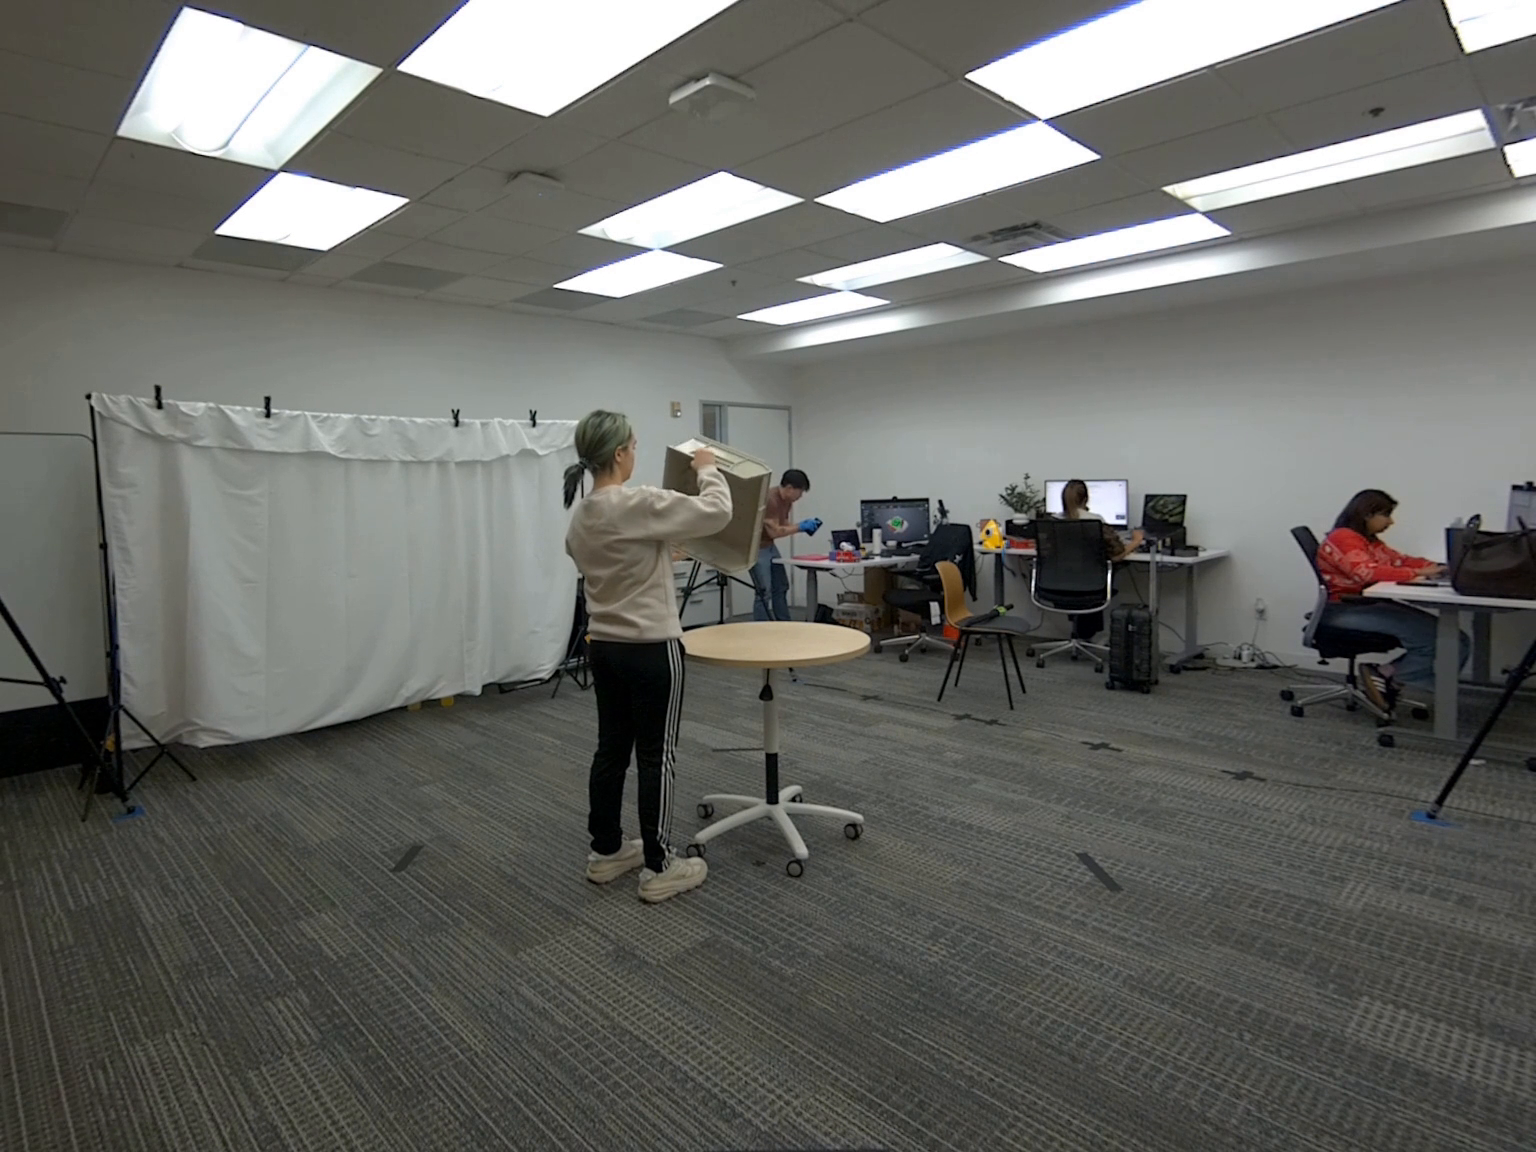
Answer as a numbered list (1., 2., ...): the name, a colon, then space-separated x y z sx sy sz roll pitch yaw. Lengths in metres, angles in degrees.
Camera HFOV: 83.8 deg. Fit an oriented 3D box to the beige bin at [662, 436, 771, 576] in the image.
1. beige bin: -0.195 -0.267 3.230 0.388 0.414 0.187 25 34 24
